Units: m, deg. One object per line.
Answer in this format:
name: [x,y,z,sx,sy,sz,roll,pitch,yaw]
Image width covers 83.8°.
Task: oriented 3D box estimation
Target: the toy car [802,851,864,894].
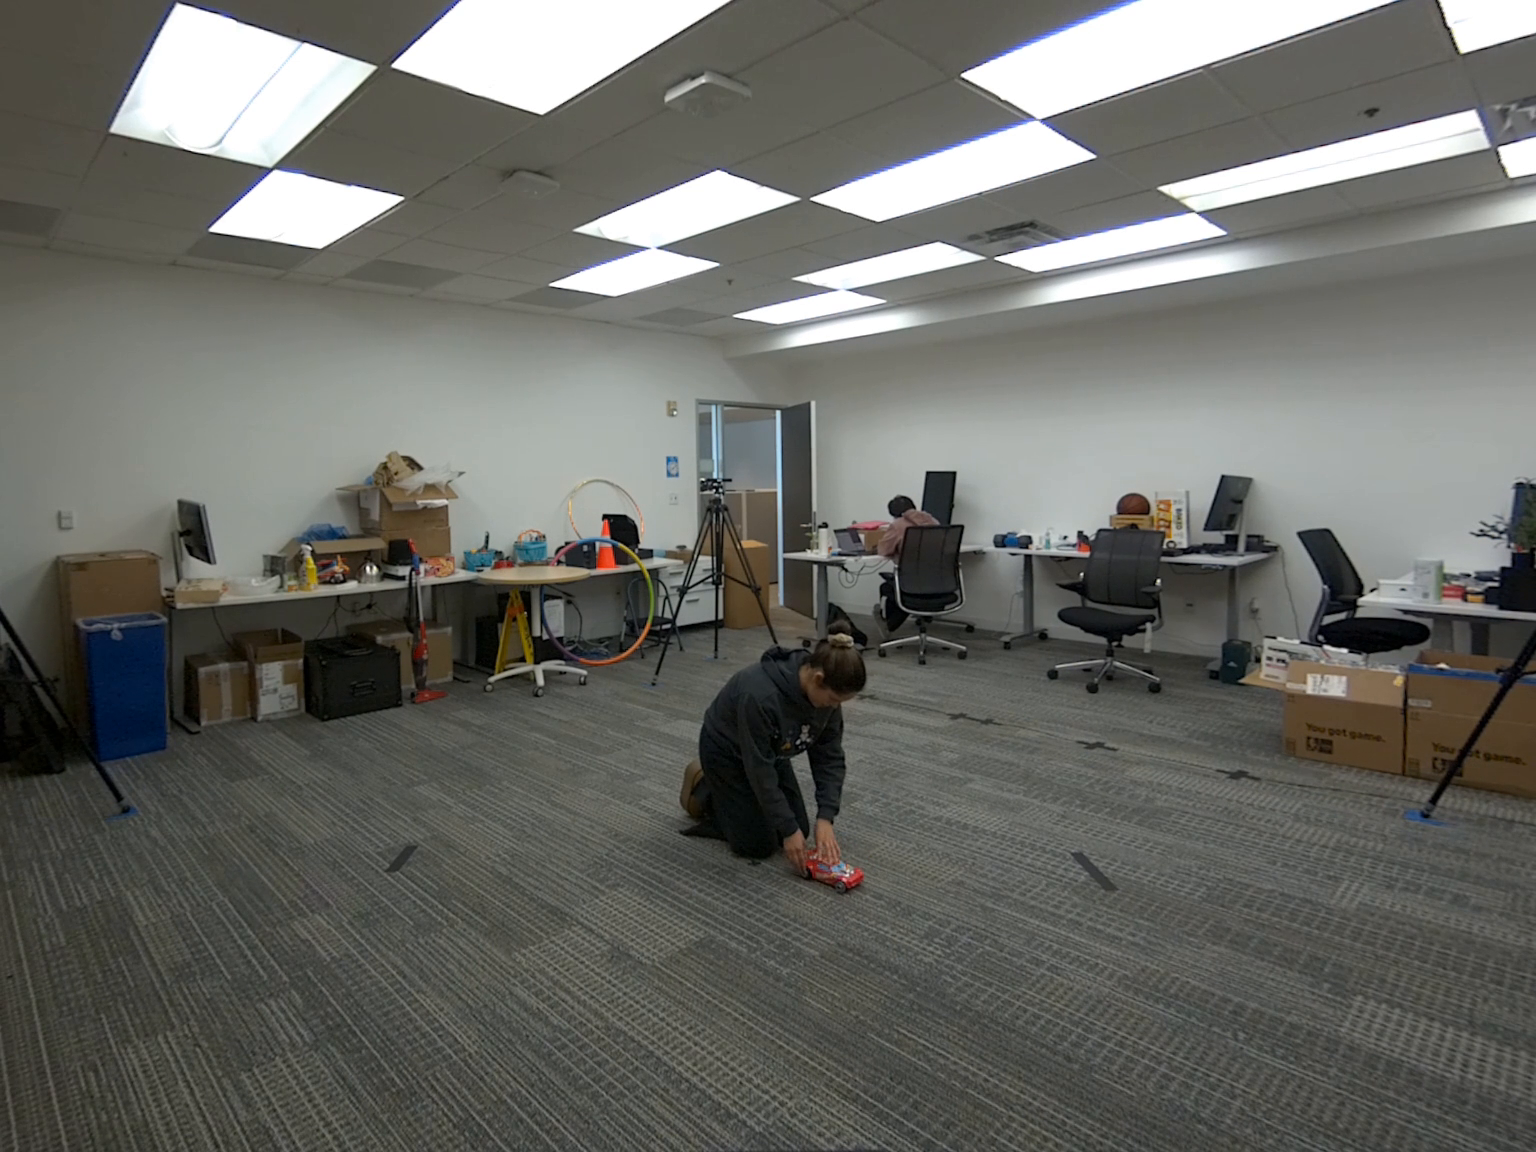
toy car: [0.208,1.022,2.967,0.264,0.082,0.127,18,16,41]
